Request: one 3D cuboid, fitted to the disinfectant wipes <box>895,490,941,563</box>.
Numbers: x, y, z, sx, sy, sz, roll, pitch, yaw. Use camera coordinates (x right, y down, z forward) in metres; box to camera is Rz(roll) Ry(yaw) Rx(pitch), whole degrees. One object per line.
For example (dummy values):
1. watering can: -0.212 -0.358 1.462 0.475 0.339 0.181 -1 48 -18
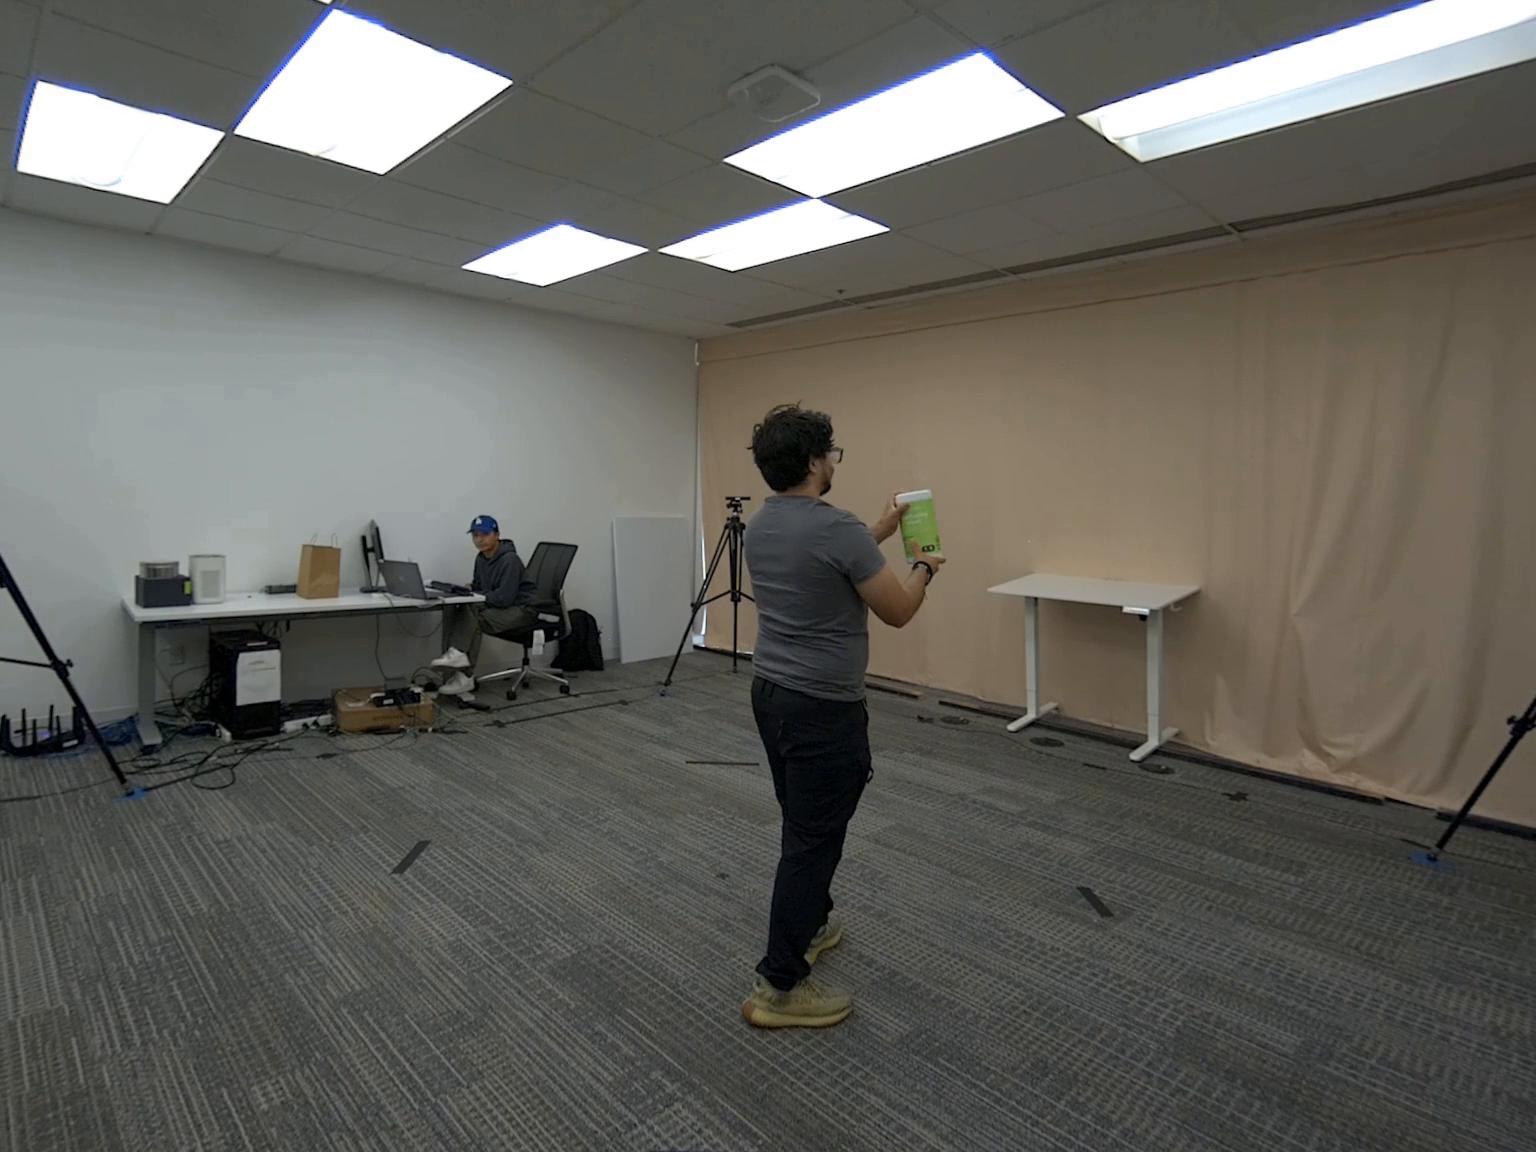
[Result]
1. disinfectant wipes: 0.443 -0.151 2.573 0.118 0.217 0.118 -6 2 -1
